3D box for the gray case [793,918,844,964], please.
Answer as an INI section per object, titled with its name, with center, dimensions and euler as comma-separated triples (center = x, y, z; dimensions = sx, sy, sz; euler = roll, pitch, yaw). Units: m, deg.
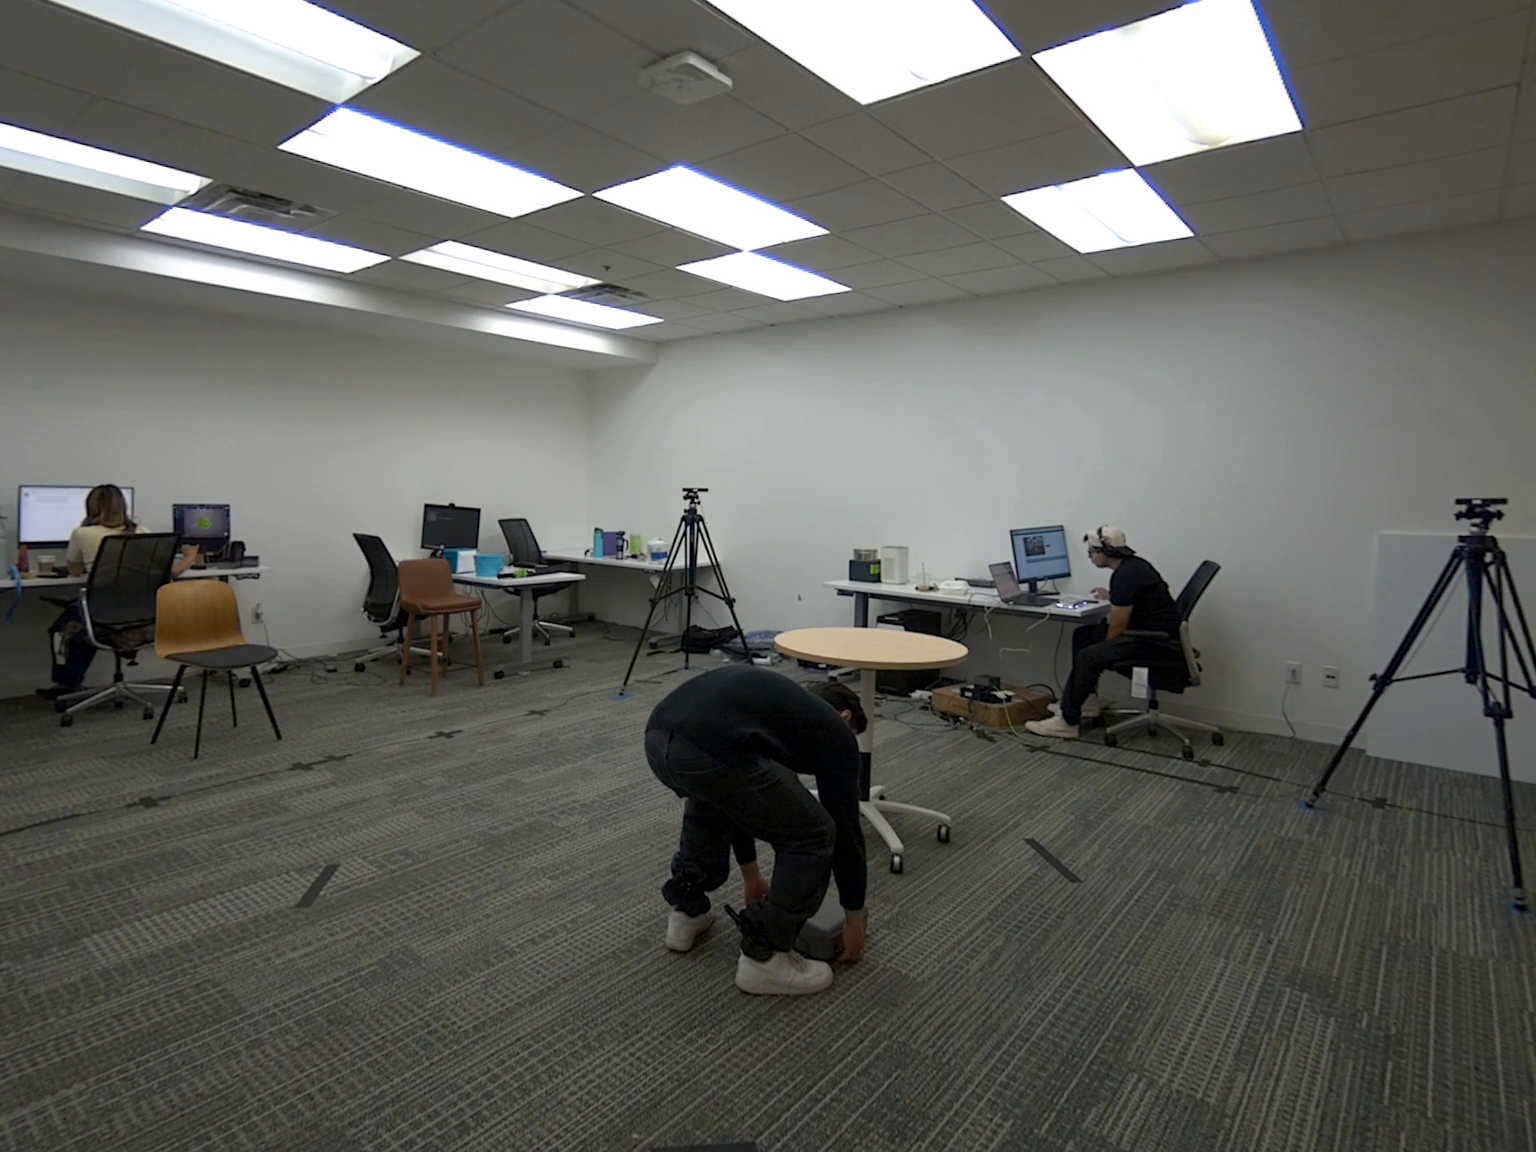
[gray case]
center = 0.143, 1.065, 2.654
dimensions = 0.266, 0.104, 0.253
euler = 8, 9, 37
